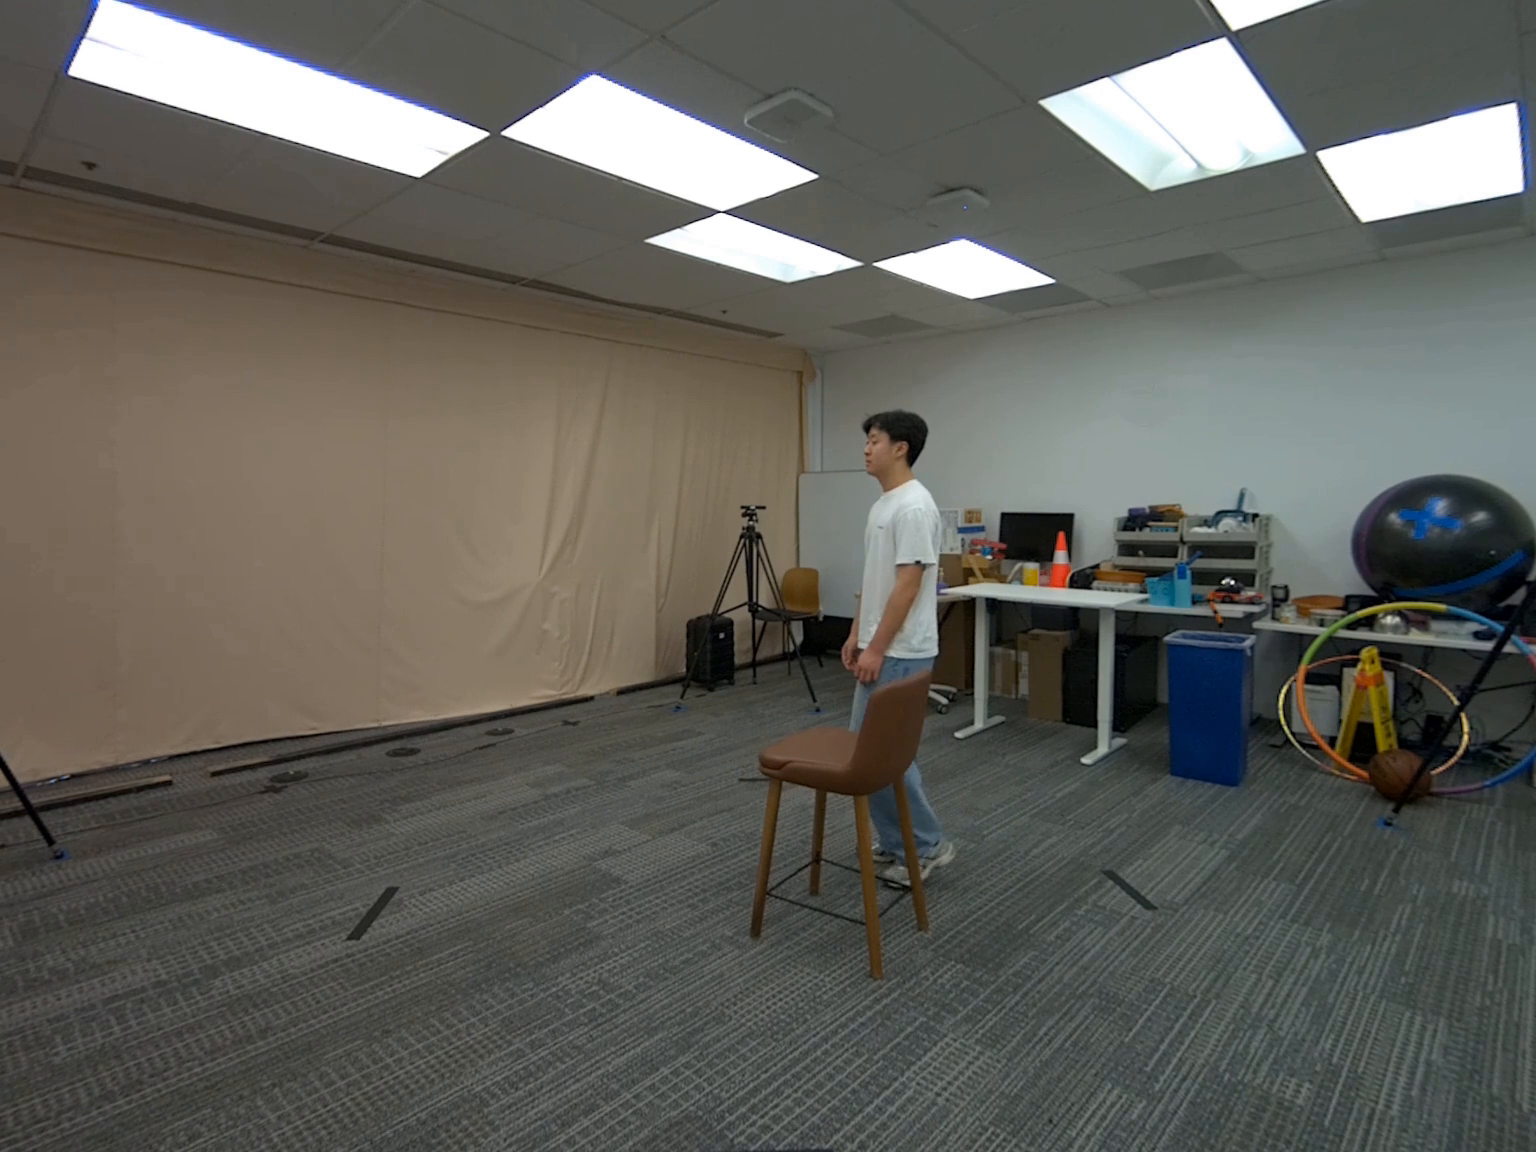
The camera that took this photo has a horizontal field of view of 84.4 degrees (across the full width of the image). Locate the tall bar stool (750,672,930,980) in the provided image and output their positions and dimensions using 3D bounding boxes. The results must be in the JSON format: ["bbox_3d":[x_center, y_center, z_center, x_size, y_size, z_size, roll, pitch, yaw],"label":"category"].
[{"bbox_3d":[0.243,0.730,2.720,0.482,0.887,0.443,5,6,35],"label":"tall bar stool"}]
